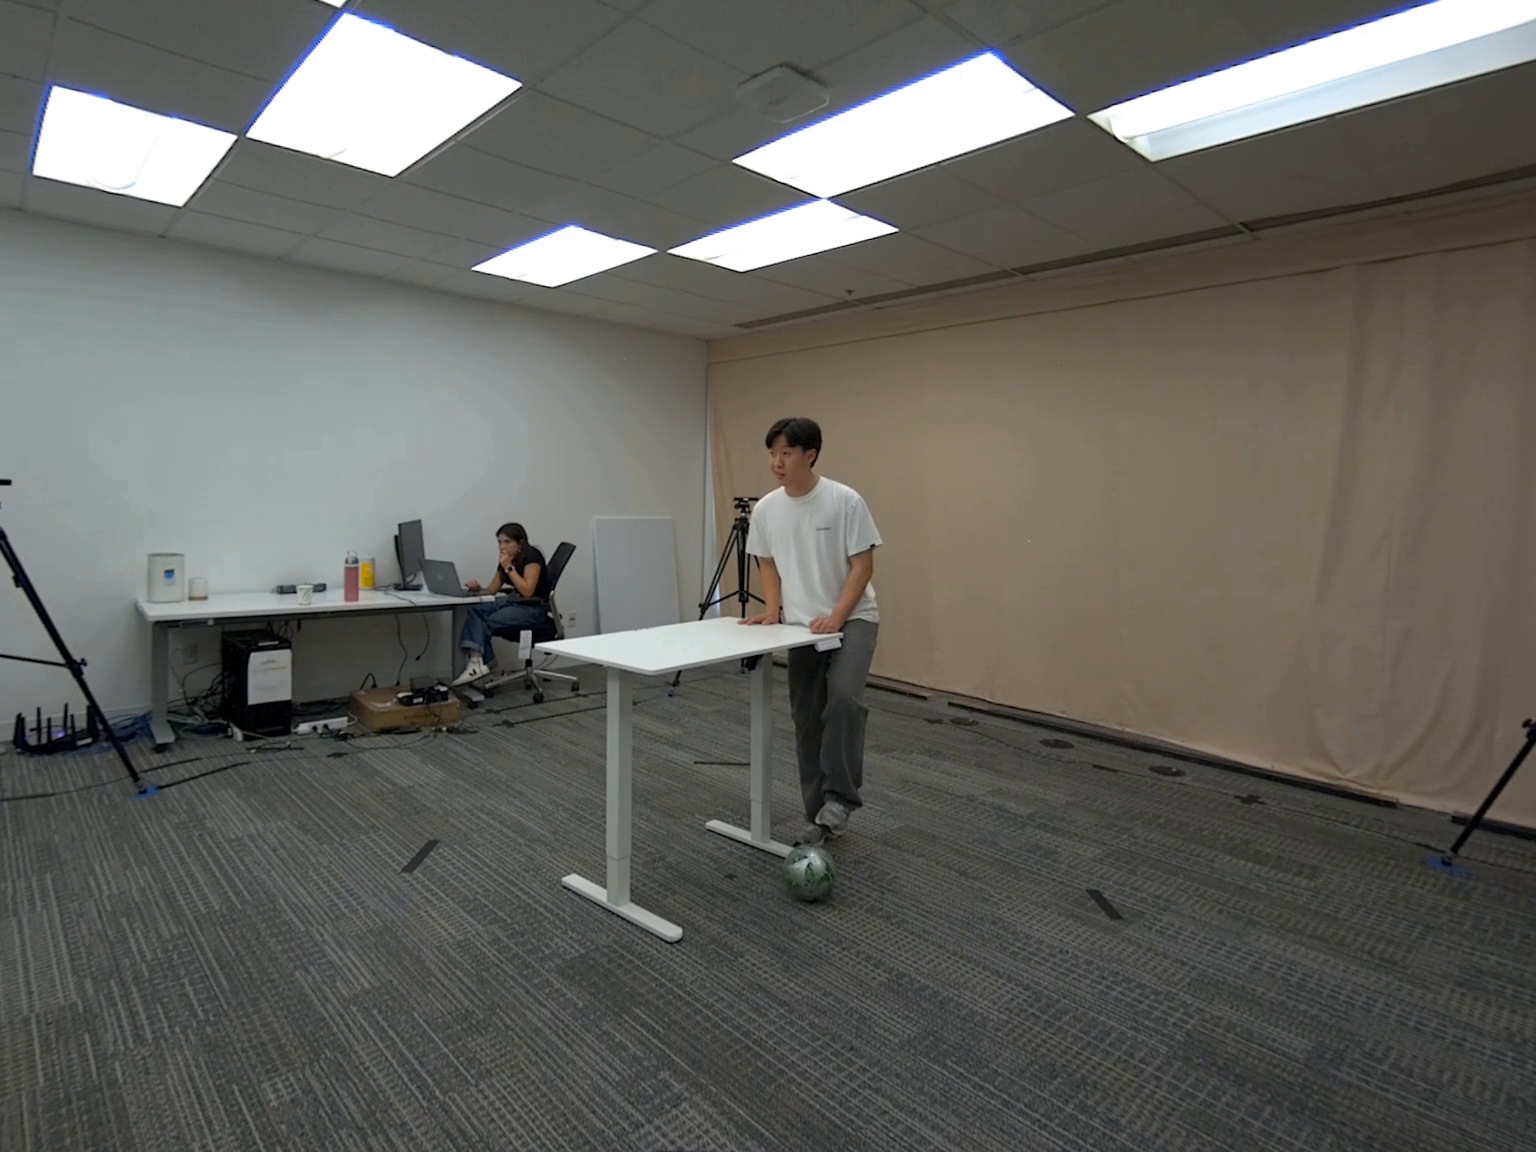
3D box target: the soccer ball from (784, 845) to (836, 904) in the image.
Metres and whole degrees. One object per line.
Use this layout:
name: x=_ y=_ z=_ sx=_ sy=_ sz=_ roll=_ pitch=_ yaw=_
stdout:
soccer ball: x=0.140 y=1.039 z=2.930 sx=0.187 sy=0.187 sz=0.188 roll=1 pitch=4 yaw=-1
